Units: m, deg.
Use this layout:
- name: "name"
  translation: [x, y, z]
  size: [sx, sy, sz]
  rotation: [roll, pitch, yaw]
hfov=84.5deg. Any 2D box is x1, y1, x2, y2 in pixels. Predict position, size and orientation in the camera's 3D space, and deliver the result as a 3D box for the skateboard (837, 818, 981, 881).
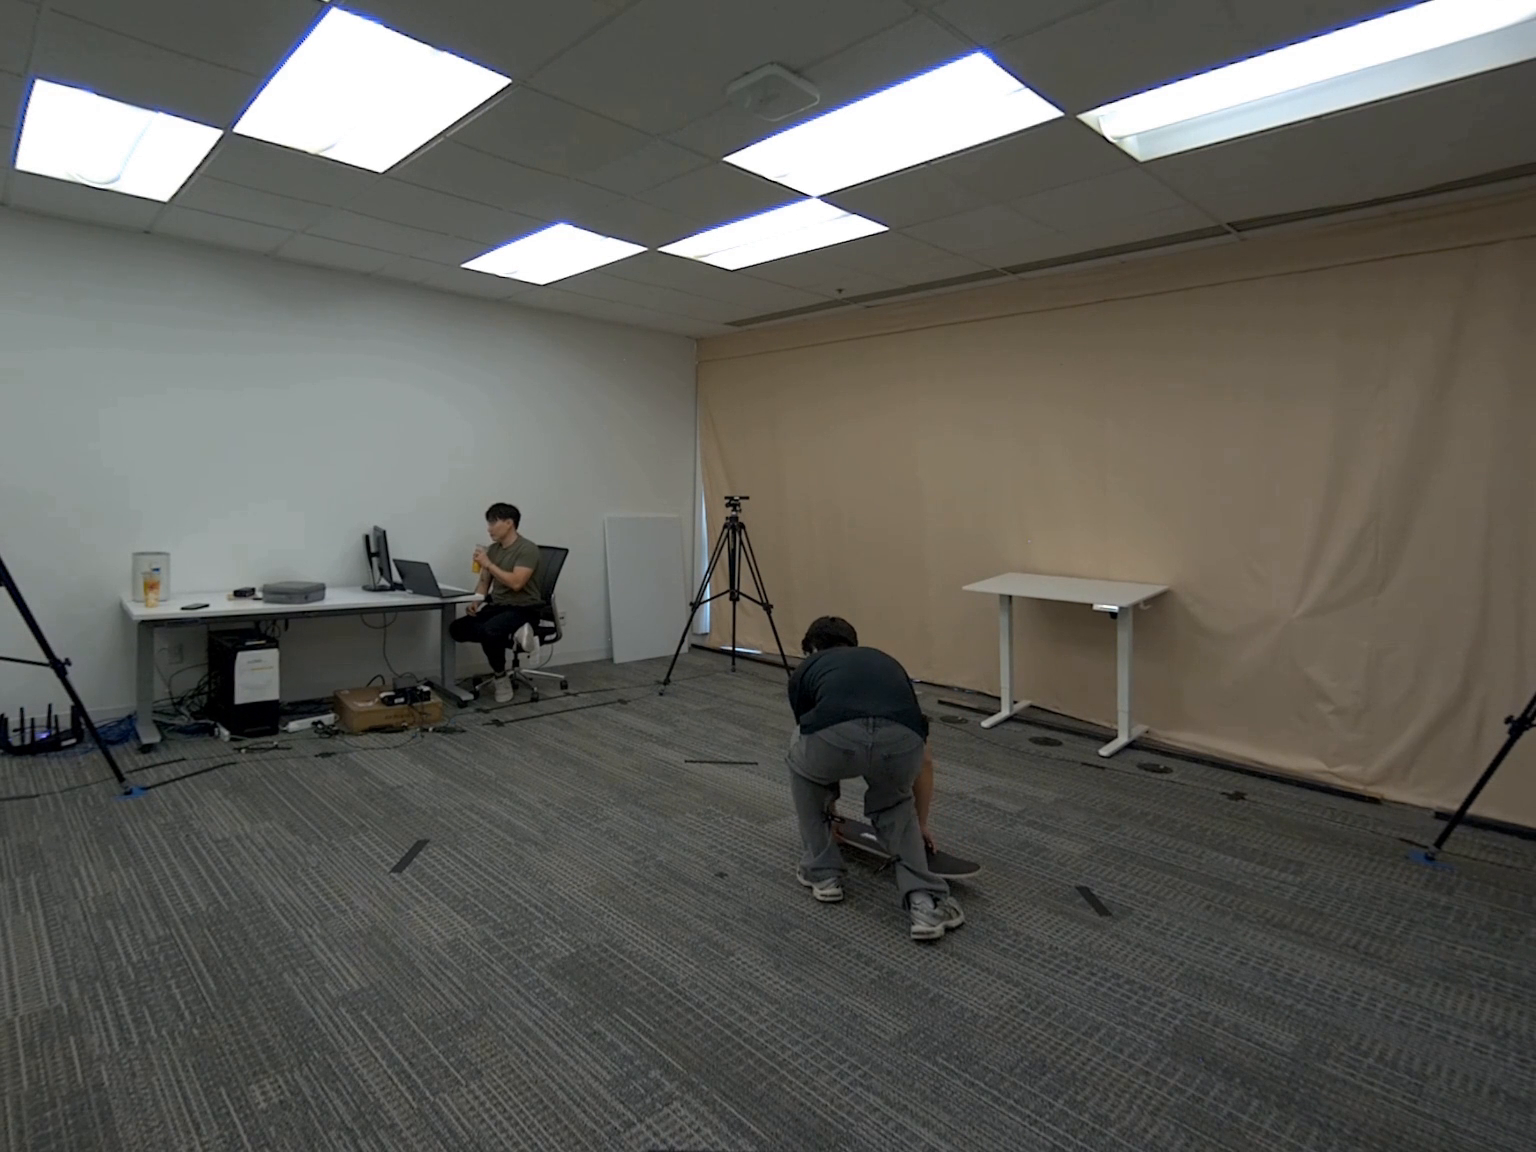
- name: "skateboard"
  translation: [0.435, 1.050, 3.224]
  size: [0.189, 0.110, 0.806]
  rotation: [-2, 5, -44]
